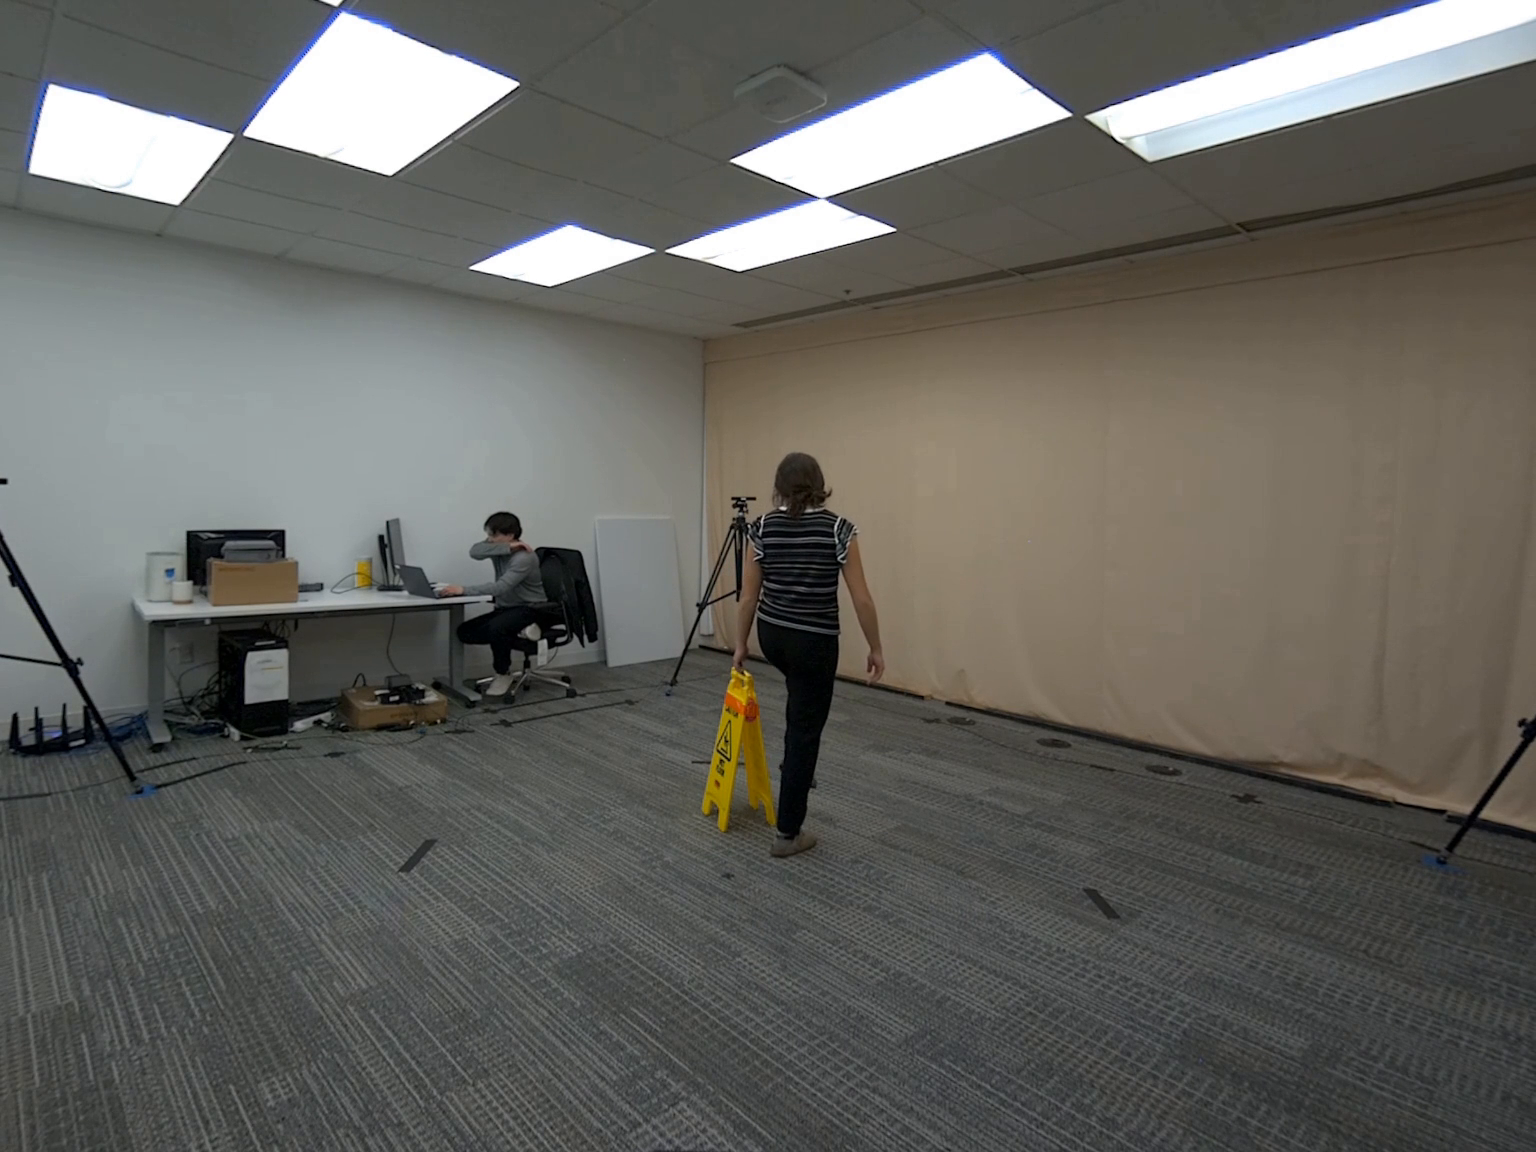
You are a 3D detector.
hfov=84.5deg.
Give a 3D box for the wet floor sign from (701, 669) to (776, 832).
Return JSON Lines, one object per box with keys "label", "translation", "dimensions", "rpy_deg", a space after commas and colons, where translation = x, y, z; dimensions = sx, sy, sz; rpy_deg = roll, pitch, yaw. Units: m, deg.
{"label": "wet floor sign", "translation": [-0.127, 0.731, 3.665], "dimensions": [0.285, 0.645, 0.287], "rpy_deg": [1, 3, -22]}
